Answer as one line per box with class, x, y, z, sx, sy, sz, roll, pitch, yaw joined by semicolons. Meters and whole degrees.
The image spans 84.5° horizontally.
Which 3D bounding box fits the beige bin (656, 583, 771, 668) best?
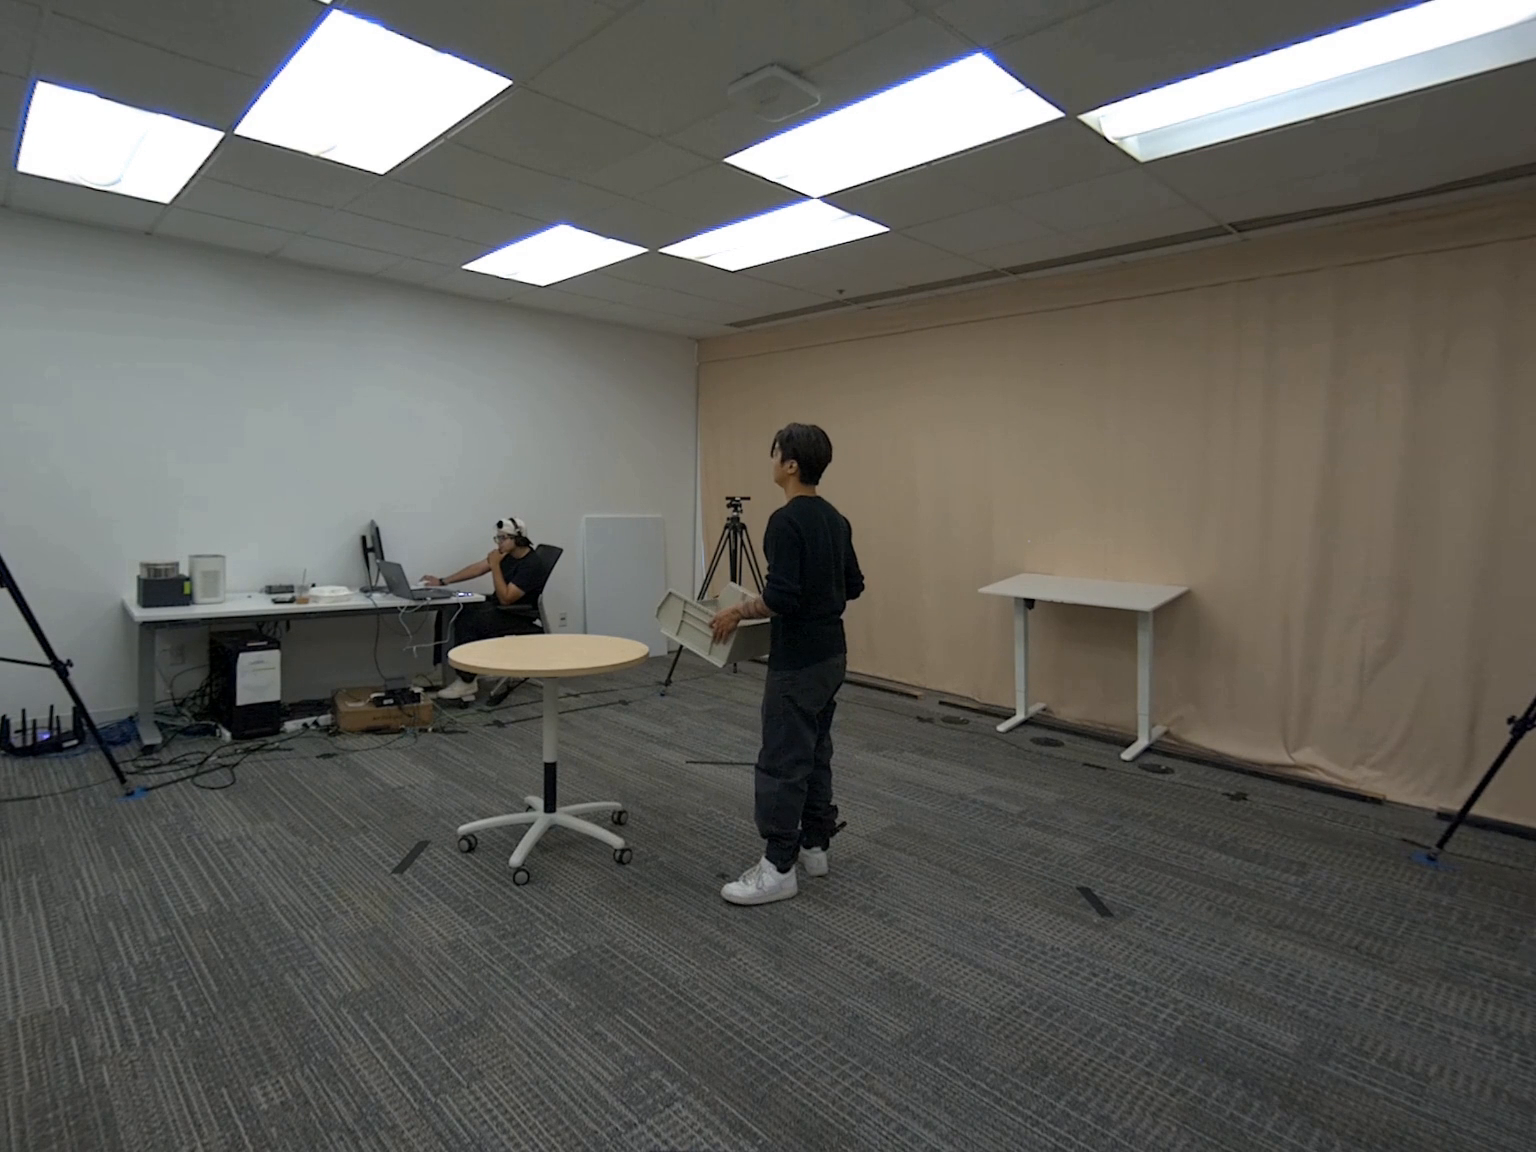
beige bin;-0.182;0.180;3.349;0.387;0.188;0.413;28;16;28
